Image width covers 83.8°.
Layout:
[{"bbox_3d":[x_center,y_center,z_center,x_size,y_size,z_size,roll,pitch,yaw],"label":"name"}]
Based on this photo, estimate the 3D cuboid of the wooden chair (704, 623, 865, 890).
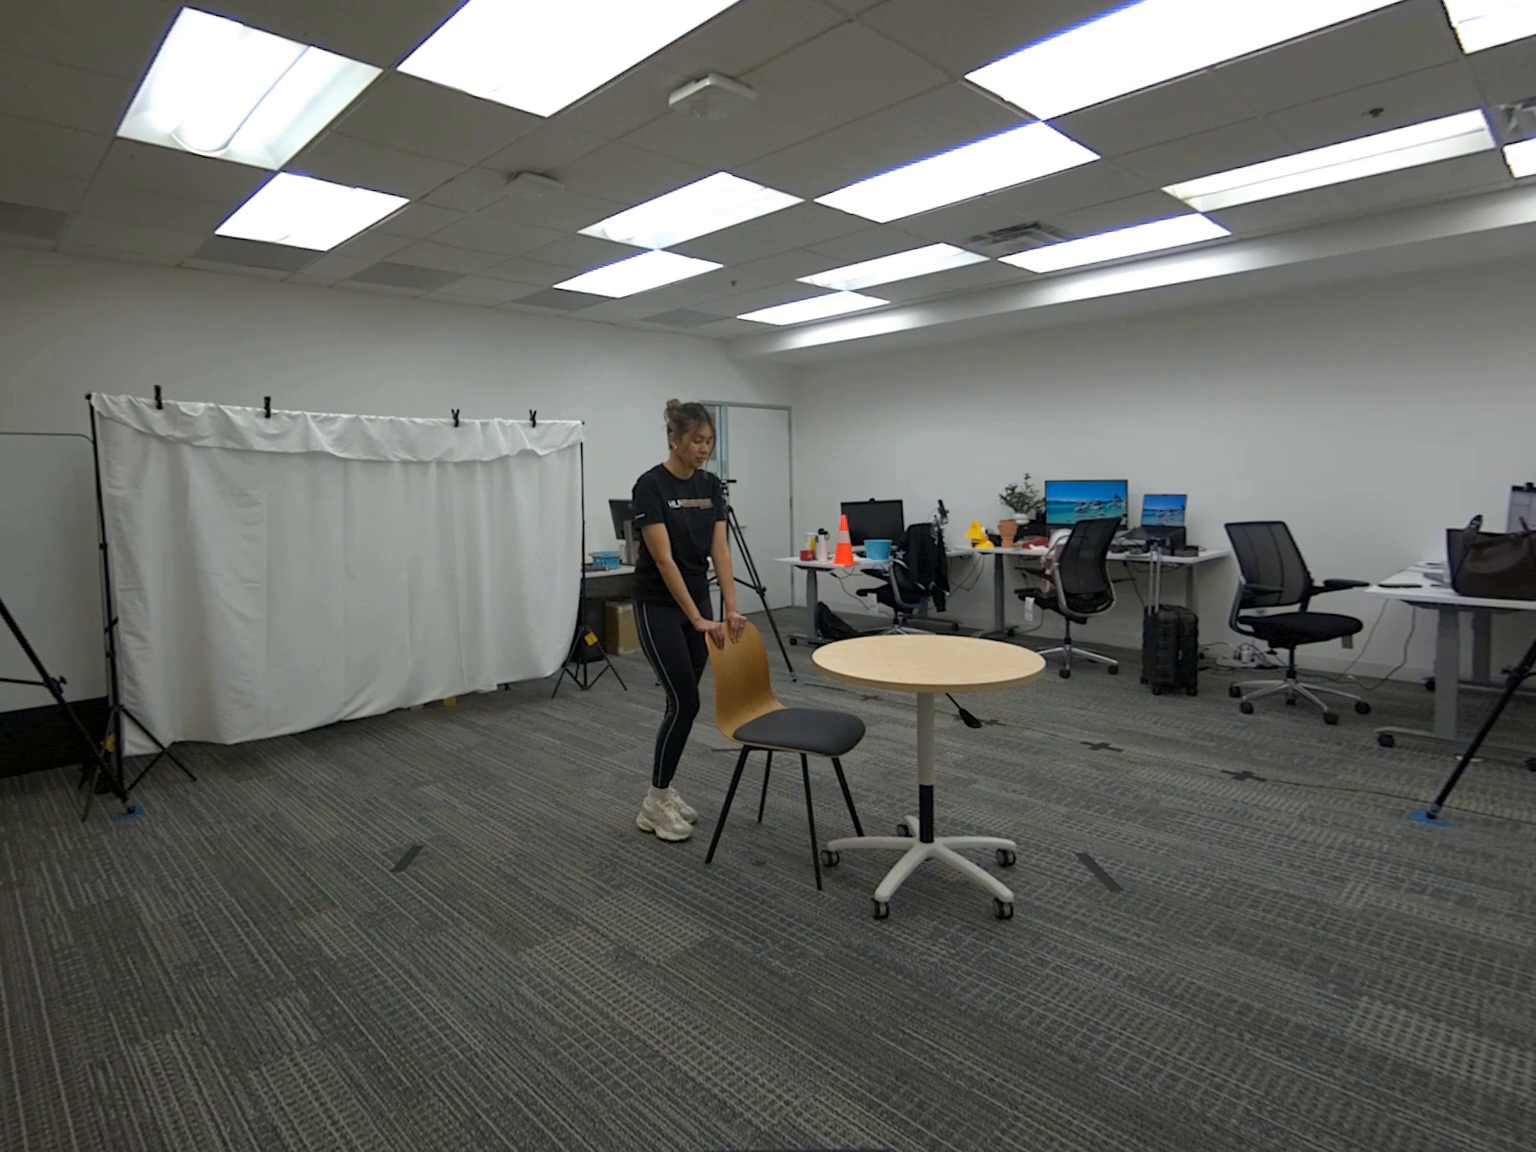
[{"bbox_3d":[0.075,0.610,3.161,0.535,0.876,0.468,-3,2,28],"label":"wooden chair"}]
